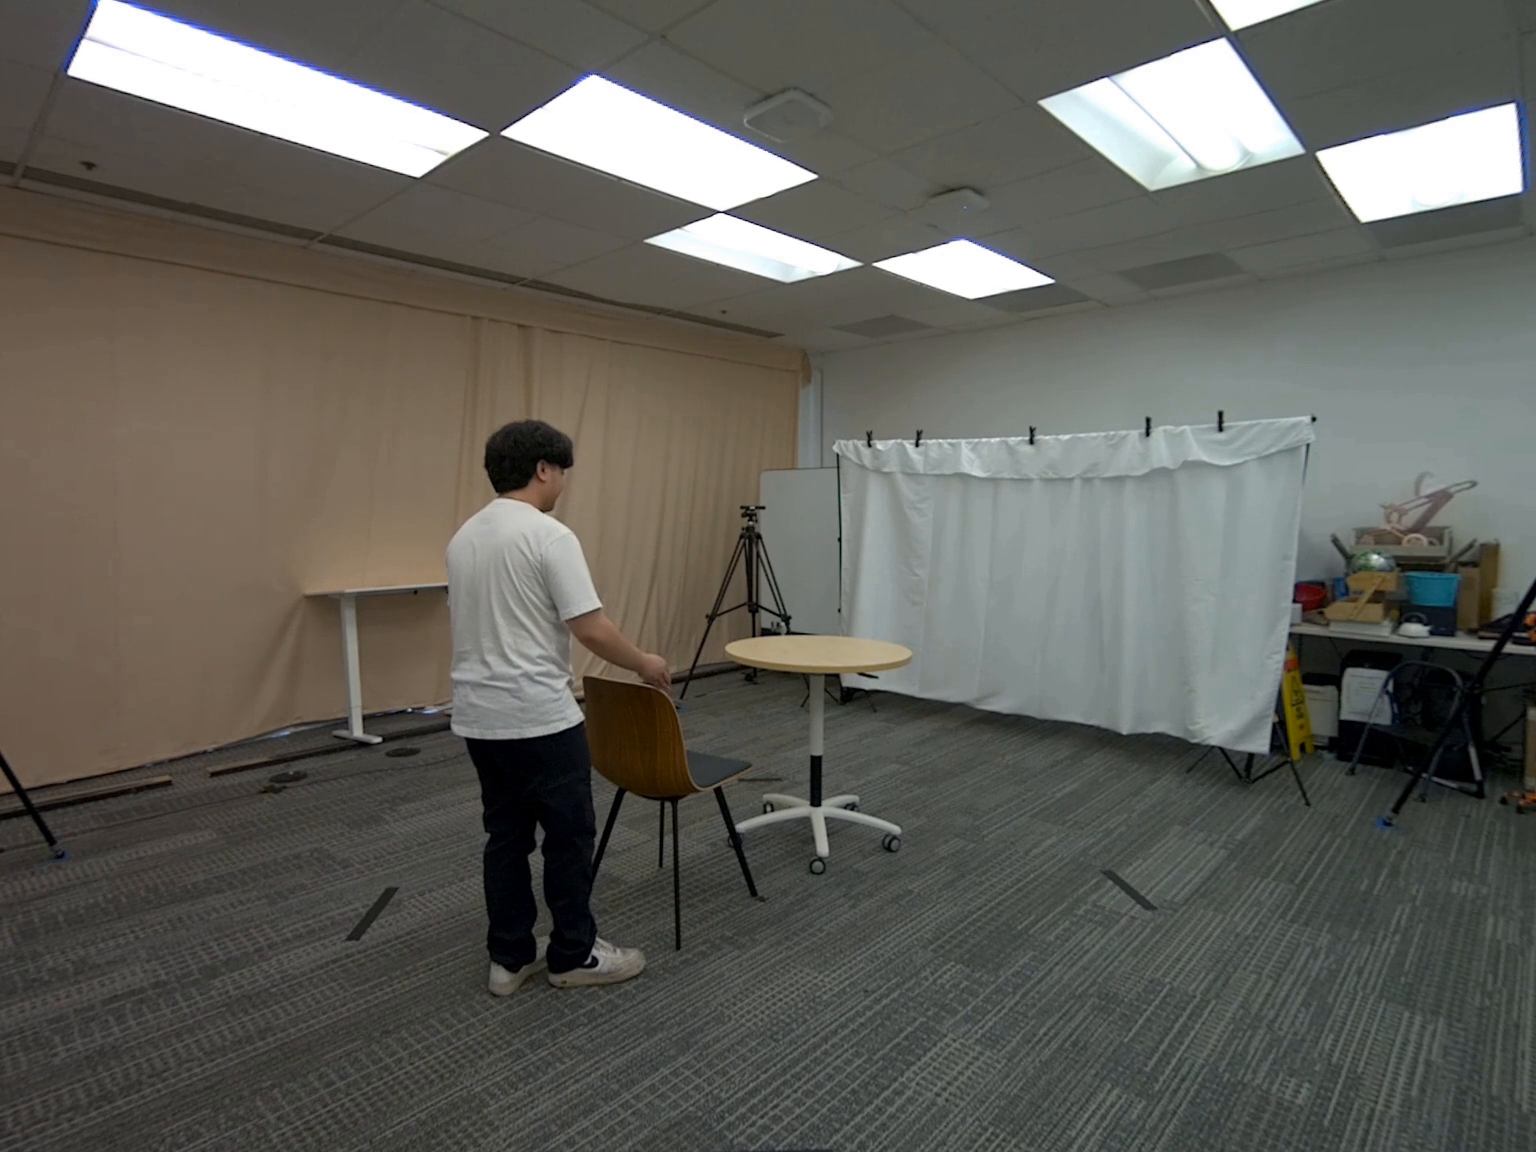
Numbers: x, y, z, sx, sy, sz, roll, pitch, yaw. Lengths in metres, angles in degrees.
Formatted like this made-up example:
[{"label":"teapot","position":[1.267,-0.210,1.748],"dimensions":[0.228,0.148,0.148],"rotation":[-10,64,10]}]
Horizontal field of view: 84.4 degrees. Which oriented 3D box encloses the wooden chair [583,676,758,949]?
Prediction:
[{"label":"wooden chair","position":[-0.342,0.724,2.928],"dimensions":[0.493,0.873,0.509],"rotation":[1,8,35]}]
